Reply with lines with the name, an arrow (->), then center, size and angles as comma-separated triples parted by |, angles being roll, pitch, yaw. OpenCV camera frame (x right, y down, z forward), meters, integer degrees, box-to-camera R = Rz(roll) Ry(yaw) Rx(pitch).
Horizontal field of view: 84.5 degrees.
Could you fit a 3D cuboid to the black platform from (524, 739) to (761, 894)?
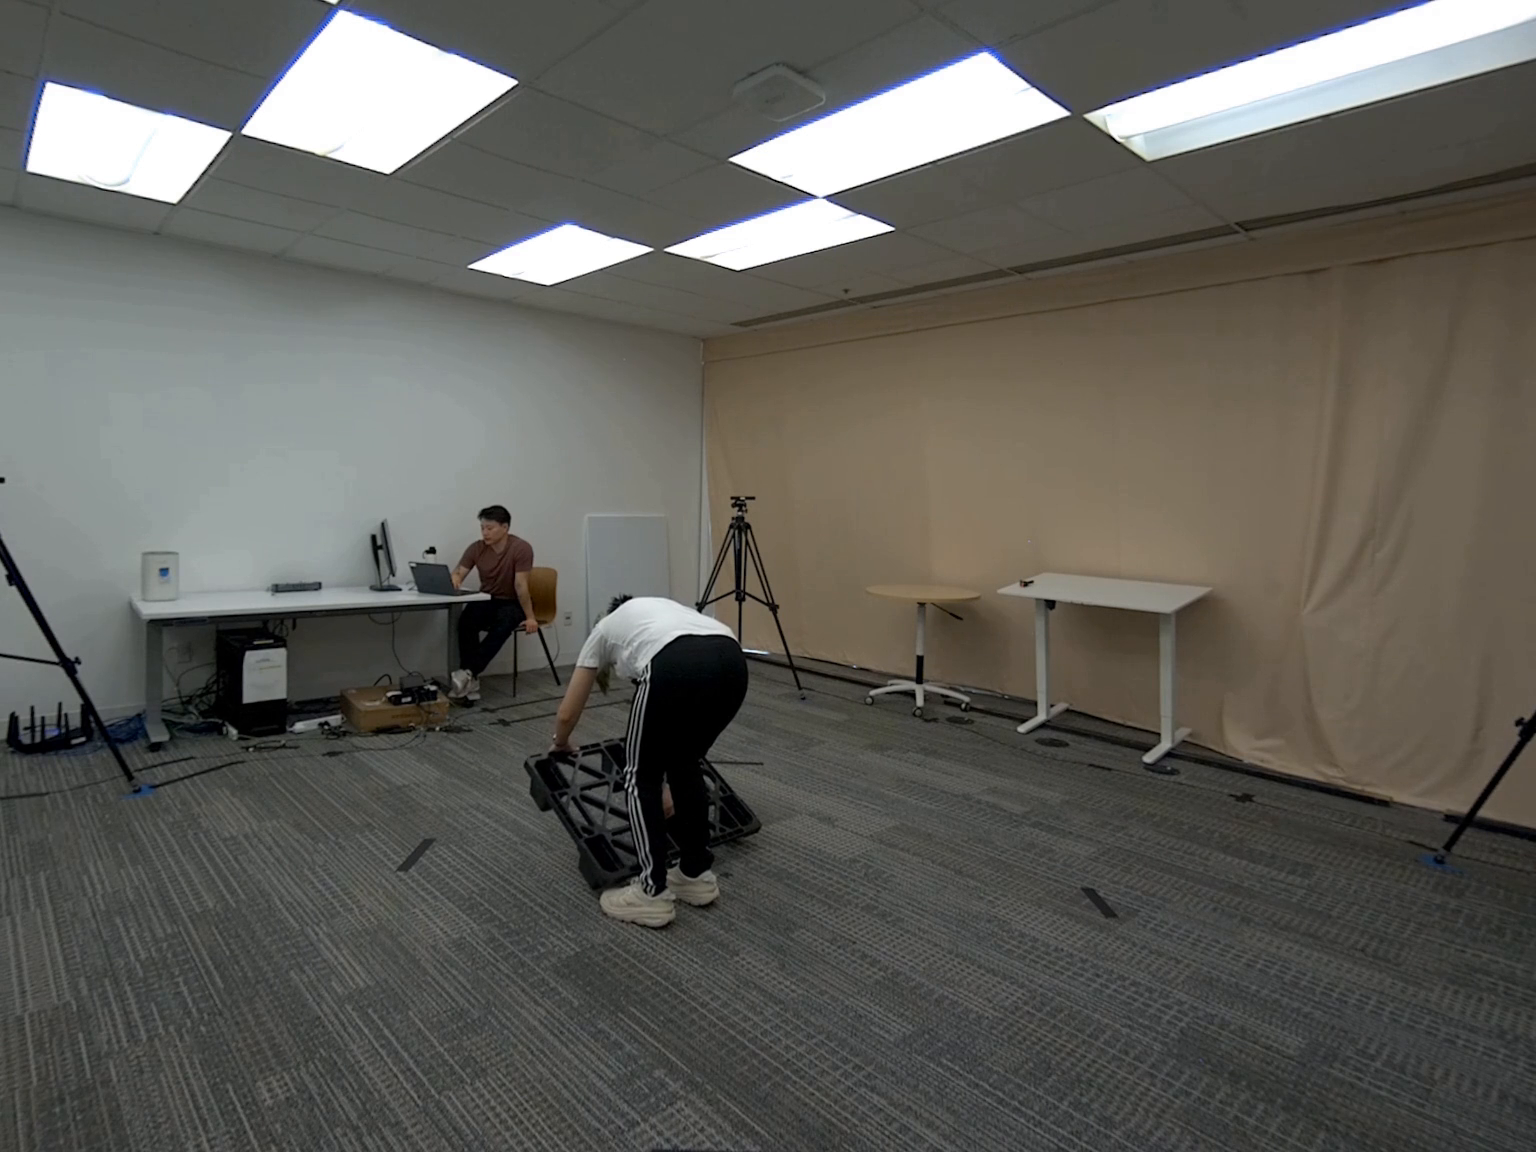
black platform -> -0.495, 0.897, 3.295 | 0.786, 0.142, 0.623 | -1, 36, -48
